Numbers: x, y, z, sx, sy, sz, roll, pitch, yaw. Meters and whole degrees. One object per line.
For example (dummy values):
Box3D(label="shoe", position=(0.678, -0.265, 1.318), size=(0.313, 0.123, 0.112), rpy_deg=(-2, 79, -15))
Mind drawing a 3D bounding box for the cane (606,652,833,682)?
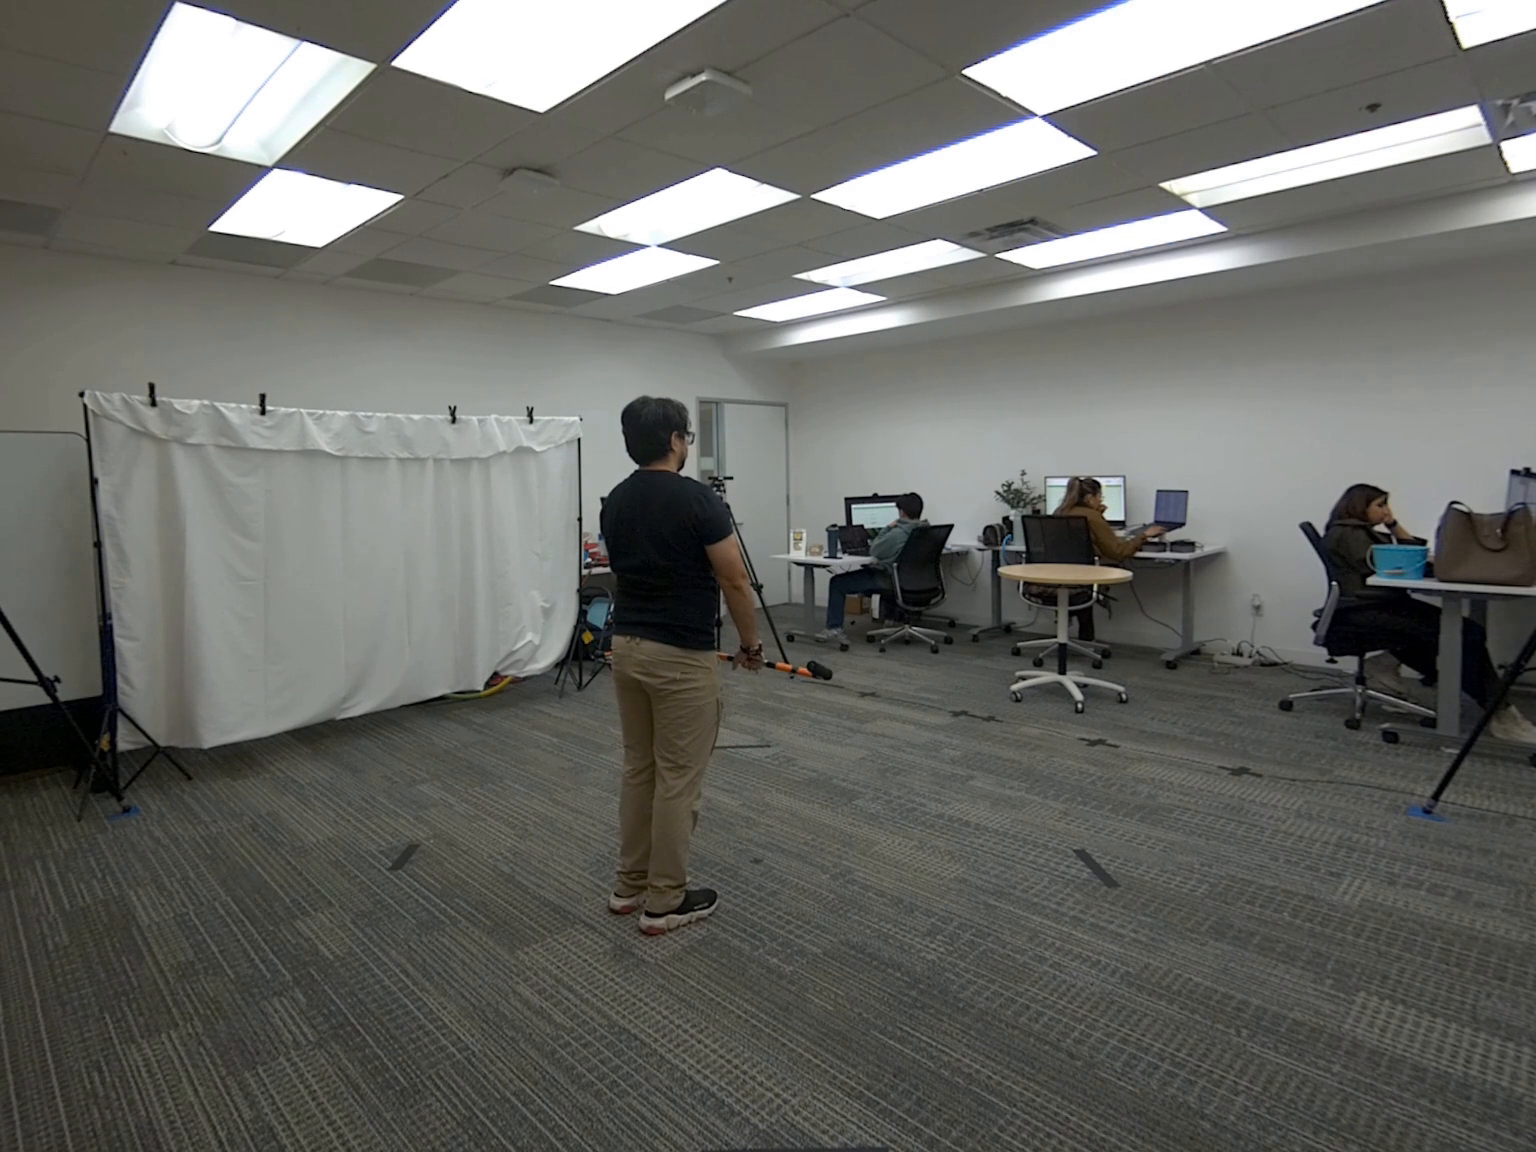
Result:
Box3D(label="cane", position=(-0.179, 0.286, 2.902), size=(0.935, 0.153, 0.198), rpy_deg=(4, -17, 37))
